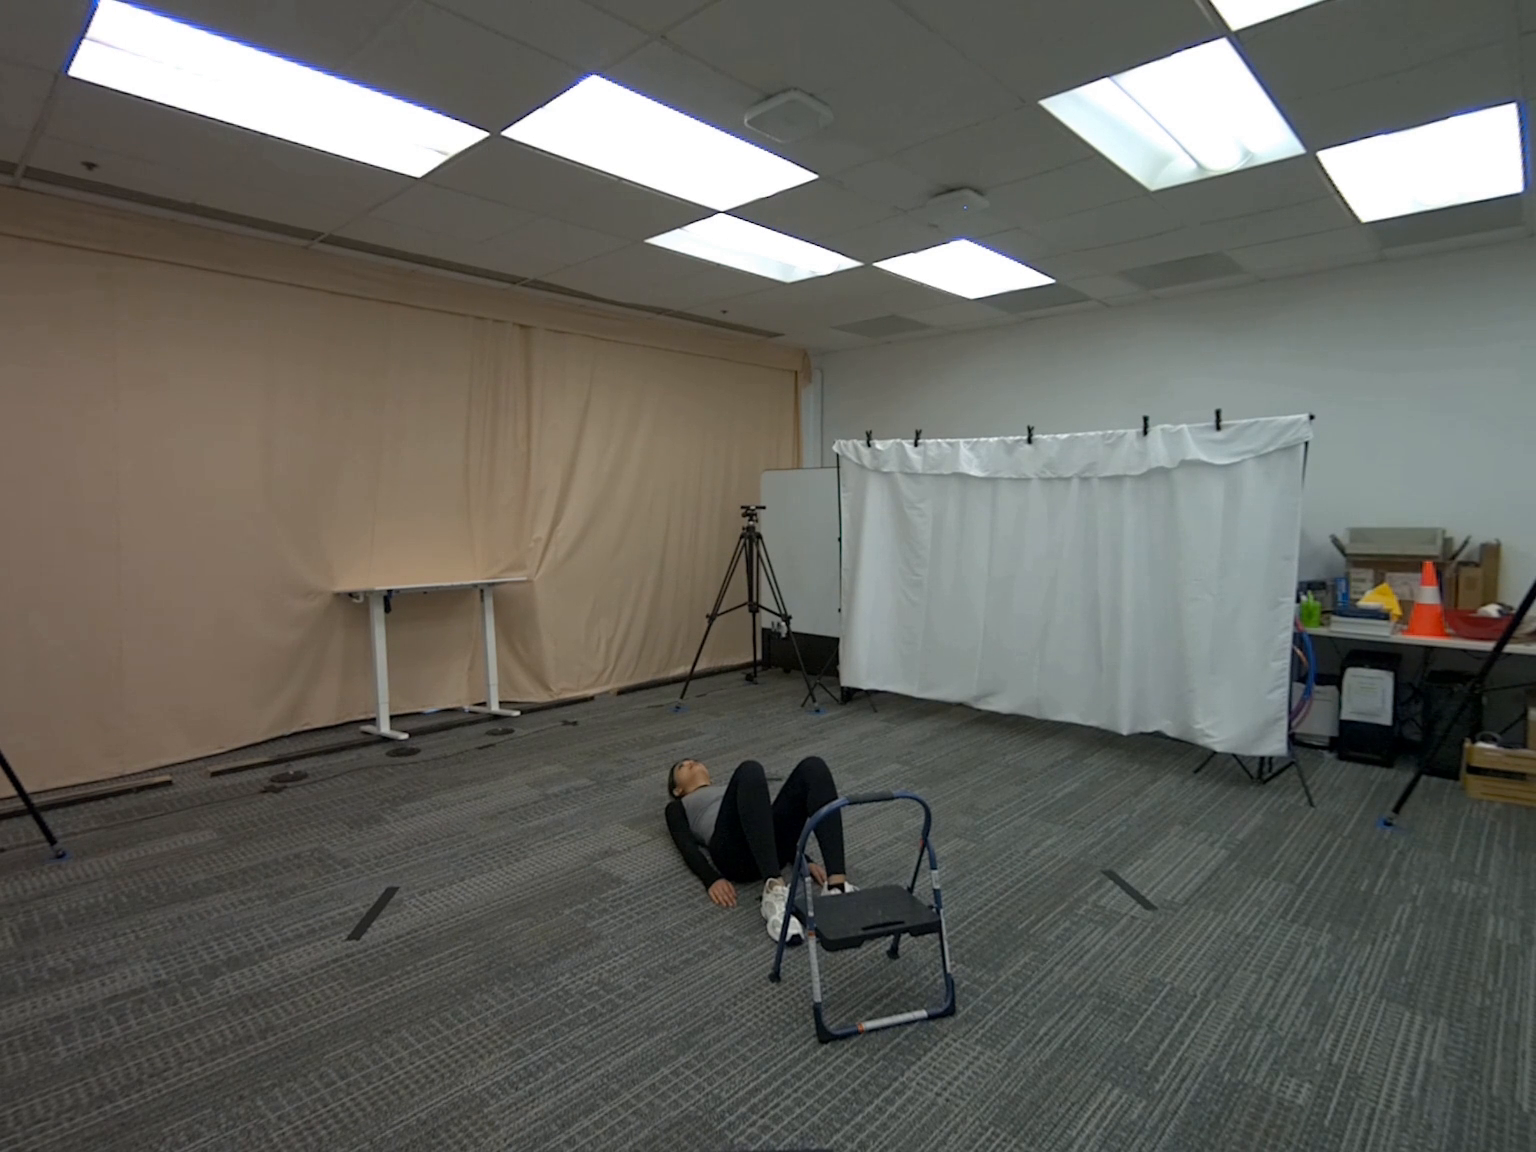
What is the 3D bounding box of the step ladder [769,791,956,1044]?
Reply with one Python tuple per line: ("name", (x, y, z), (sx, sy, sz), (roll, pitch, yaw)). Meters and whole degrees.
("step ladder", (0.270, 0.892, 2.382), (0.422, 0.605, 0.357), (-1, 3, -21))
